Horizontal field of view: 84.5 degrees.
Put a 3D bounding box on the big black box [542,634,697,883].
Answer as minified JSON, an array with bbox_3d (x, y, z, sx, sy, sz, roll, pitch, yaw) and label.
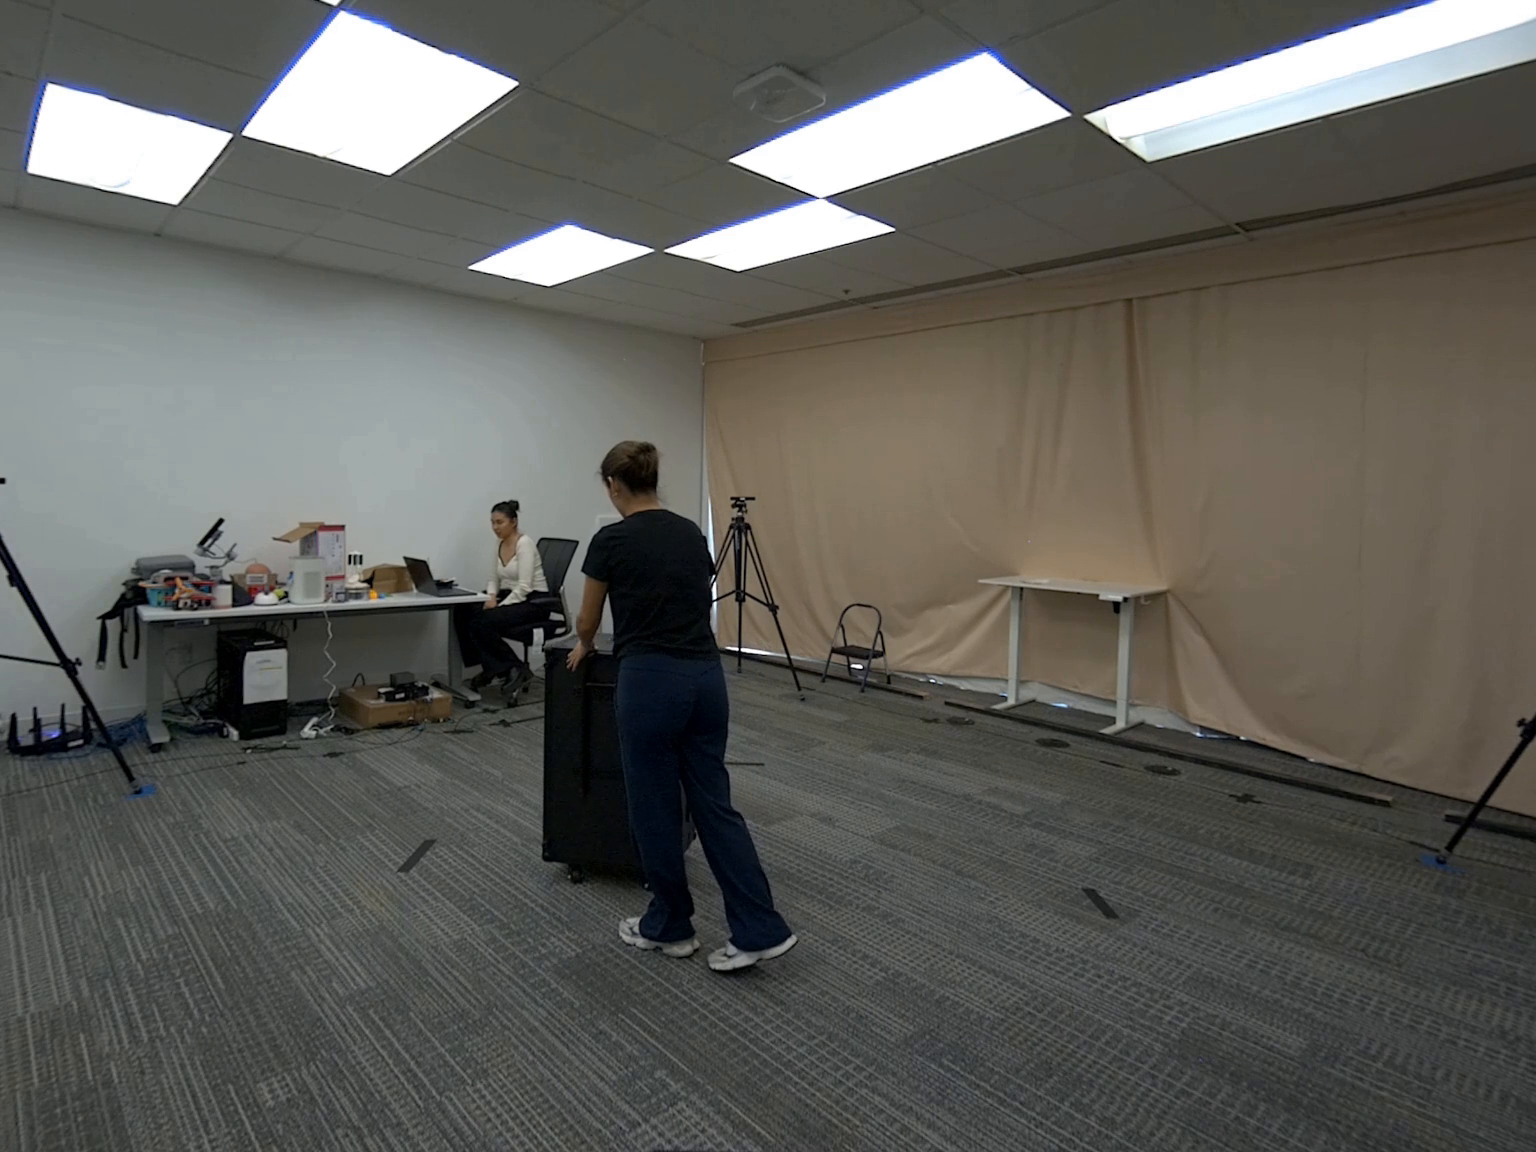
[{"bbox_3d":[-0.542,0.676,3.104,0.526,0.859,0.394,2,4,10],"label":"big black box"}]
